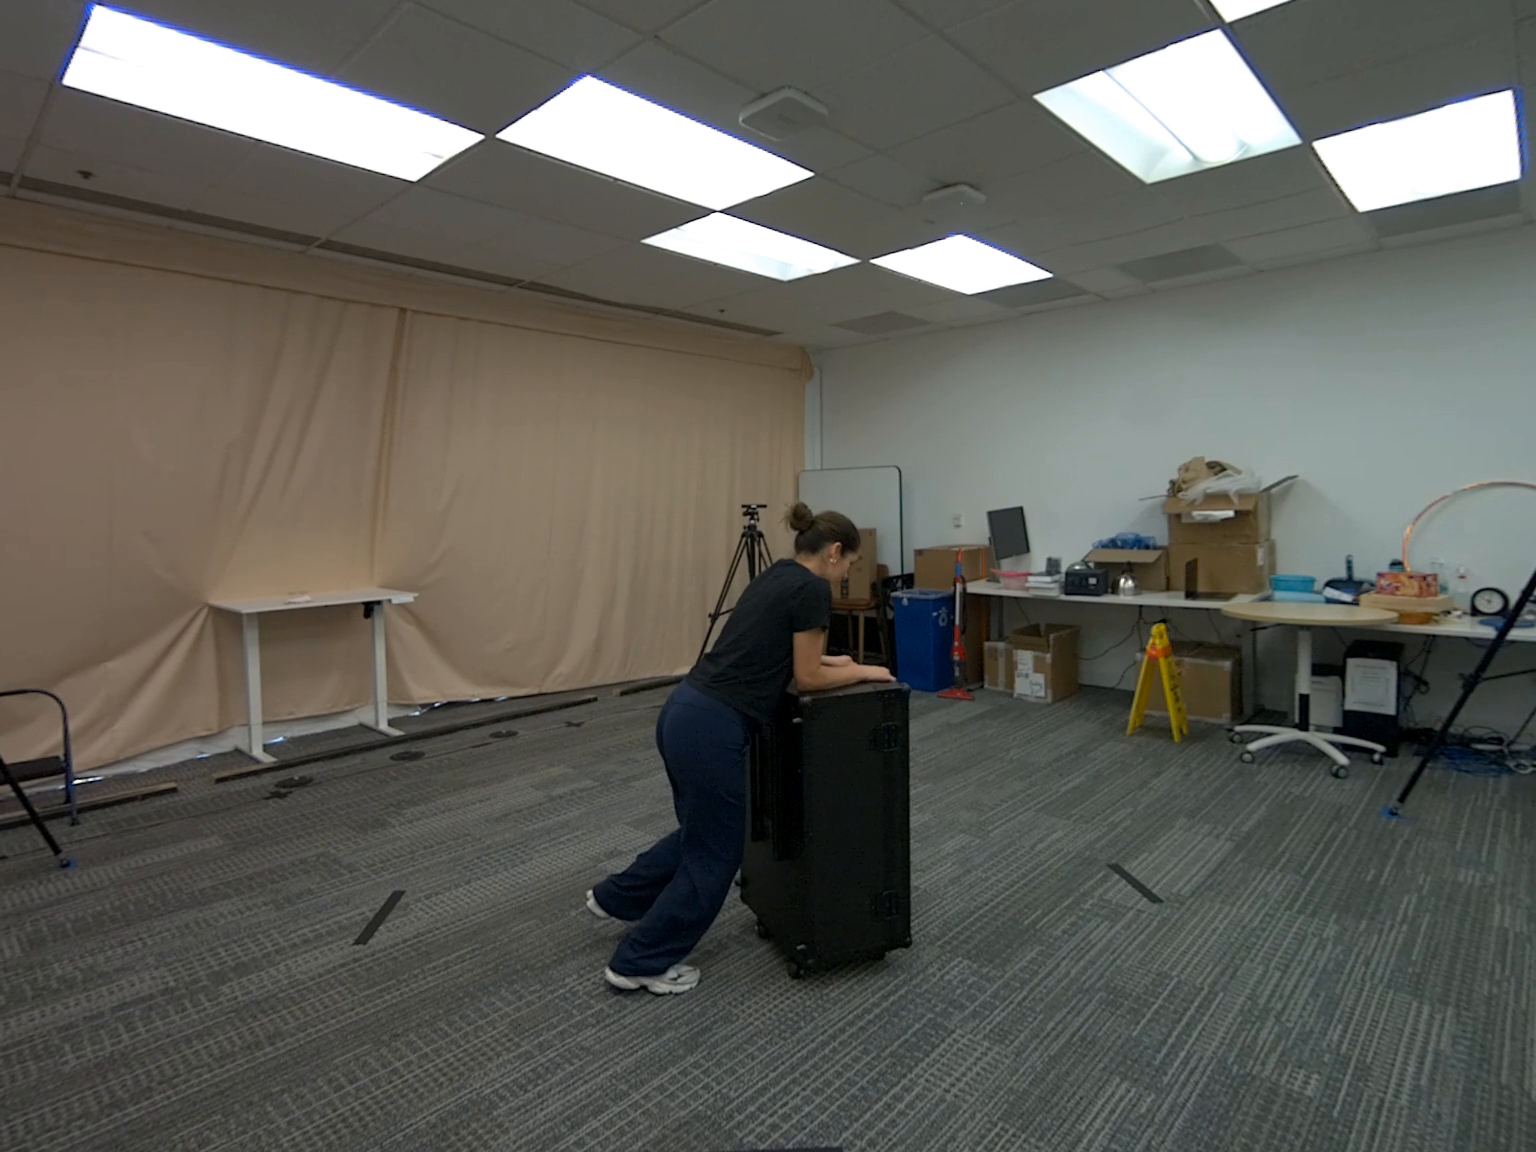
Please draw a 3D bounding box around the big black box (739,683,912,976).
[{"bbox_3d":[0.176,0.680,2.648,0.387,0.859,0.534,-2,4,-24],"label":"big black box"}]
